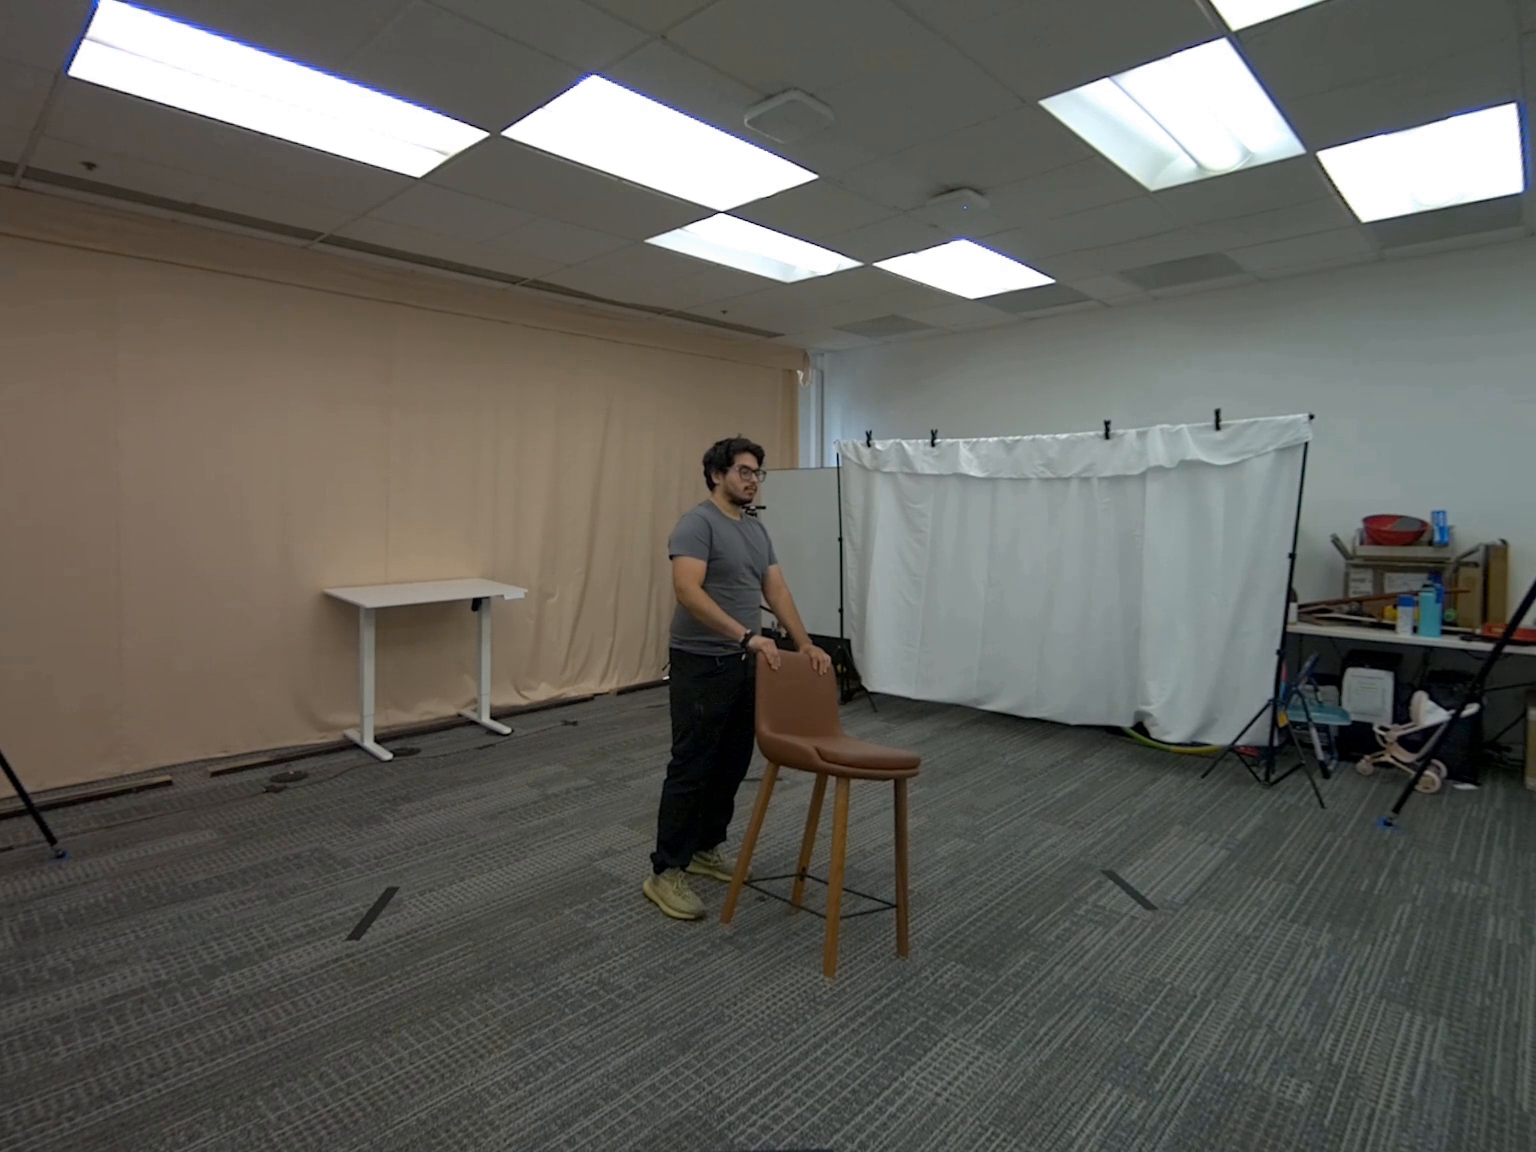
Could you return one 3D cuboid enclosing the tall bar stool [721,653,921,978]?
[{"bbox_3d":[0.193,0.705,2.671,0.483,0.893,0.440,0,-10,43],"label":"tall bar stool"}]
